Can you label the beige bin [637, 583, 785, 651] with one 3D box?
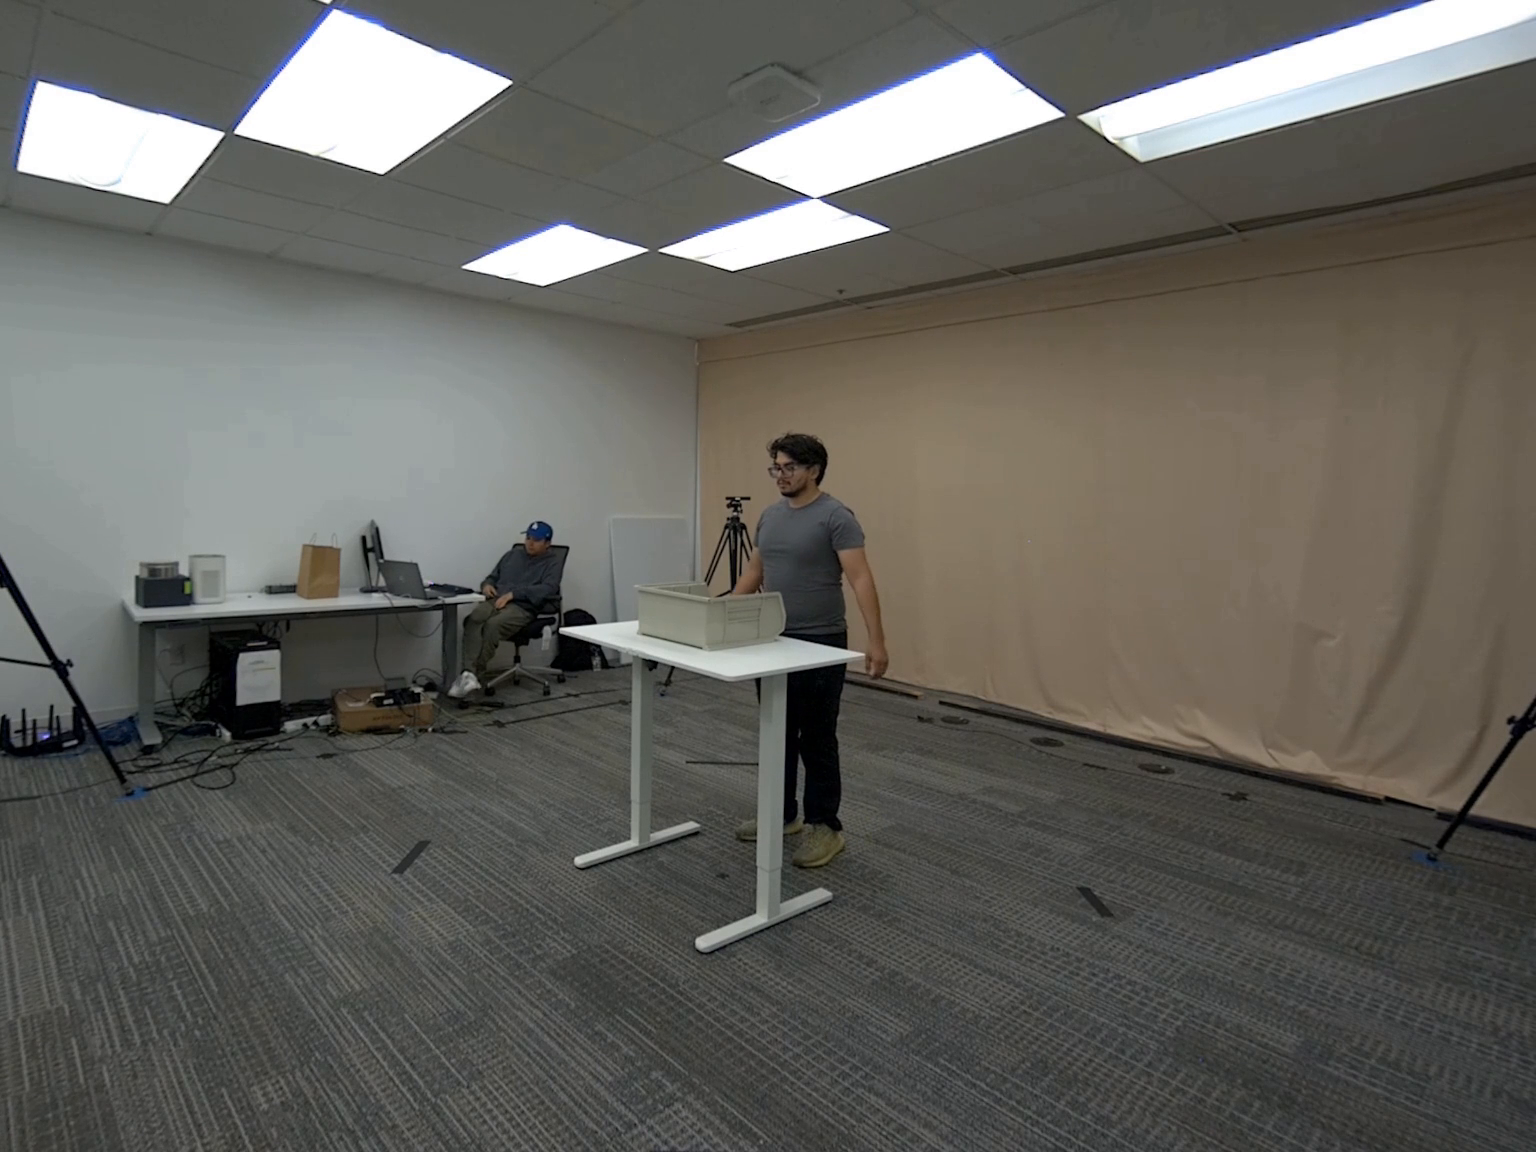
[{"bbox_3d":[-0.221,0.137,3.055,0.369,0.188,0.433,-5,8,-43],"label":"beige bin"}]
